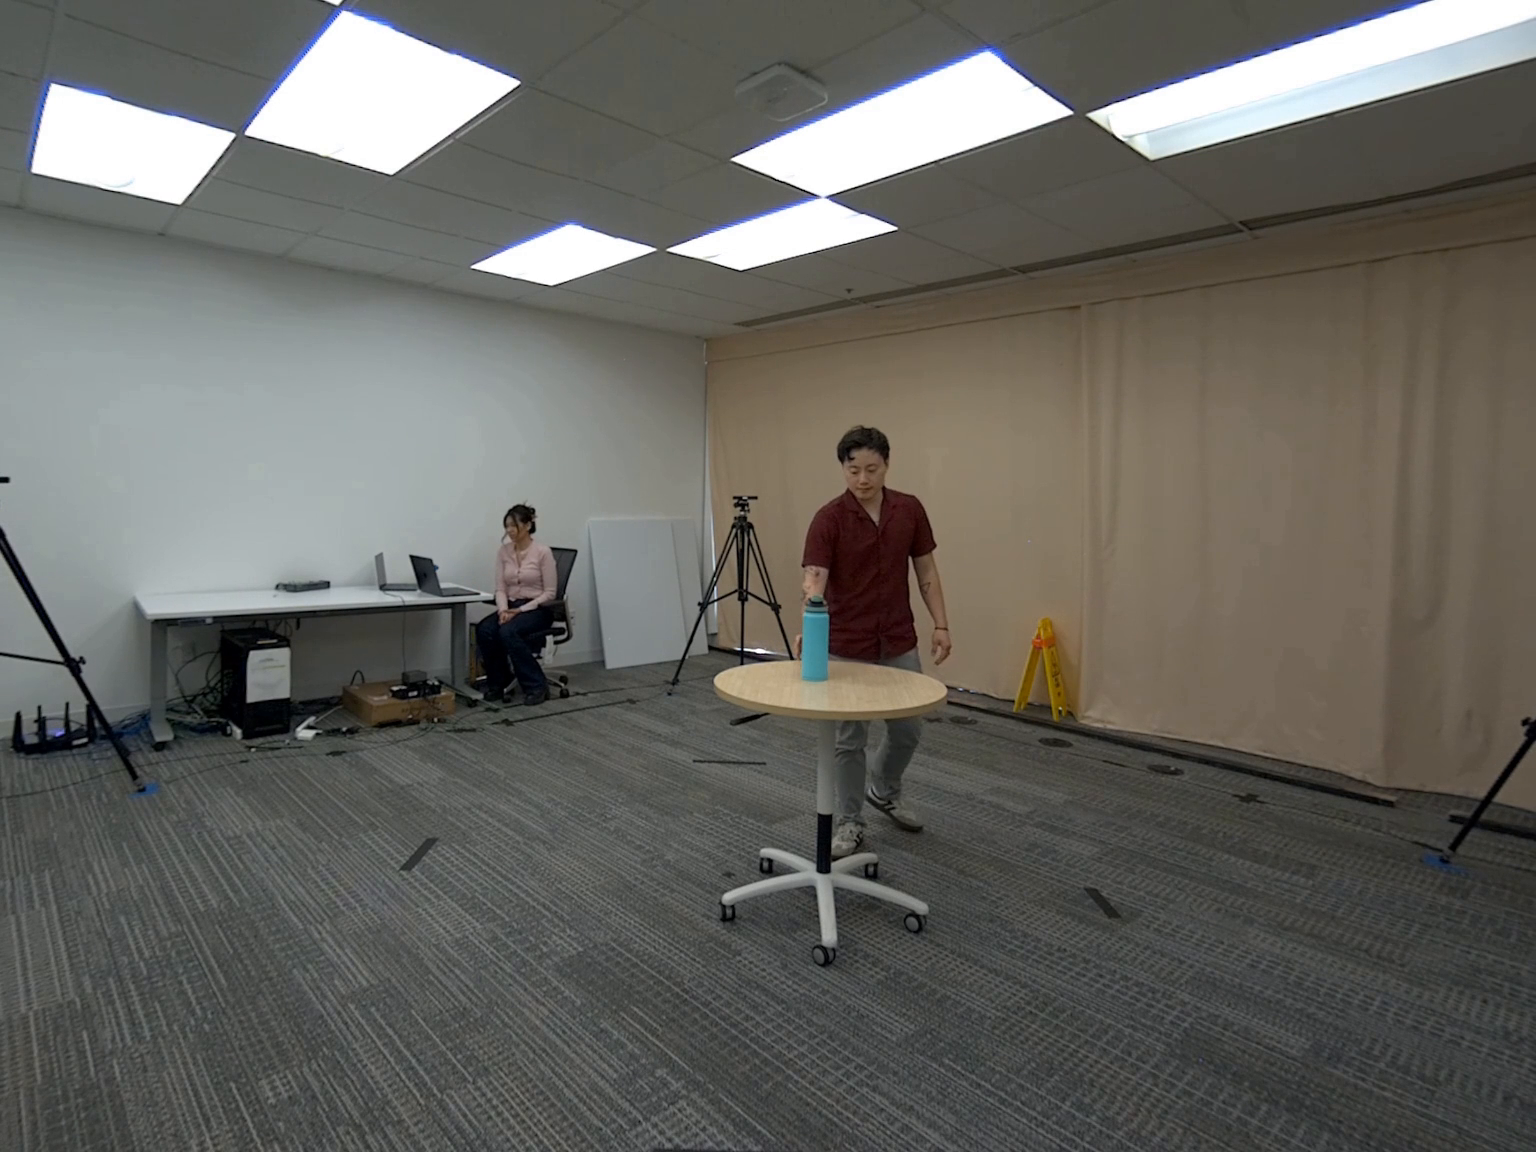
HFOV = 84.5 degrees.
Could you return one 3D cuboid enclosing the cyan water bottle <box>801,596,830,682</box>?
[{"bbox_3d":[0.156,0.211,2.848,0.092,0.283,0.092,0,2,-1],"label":"cyan water bottle"}]
